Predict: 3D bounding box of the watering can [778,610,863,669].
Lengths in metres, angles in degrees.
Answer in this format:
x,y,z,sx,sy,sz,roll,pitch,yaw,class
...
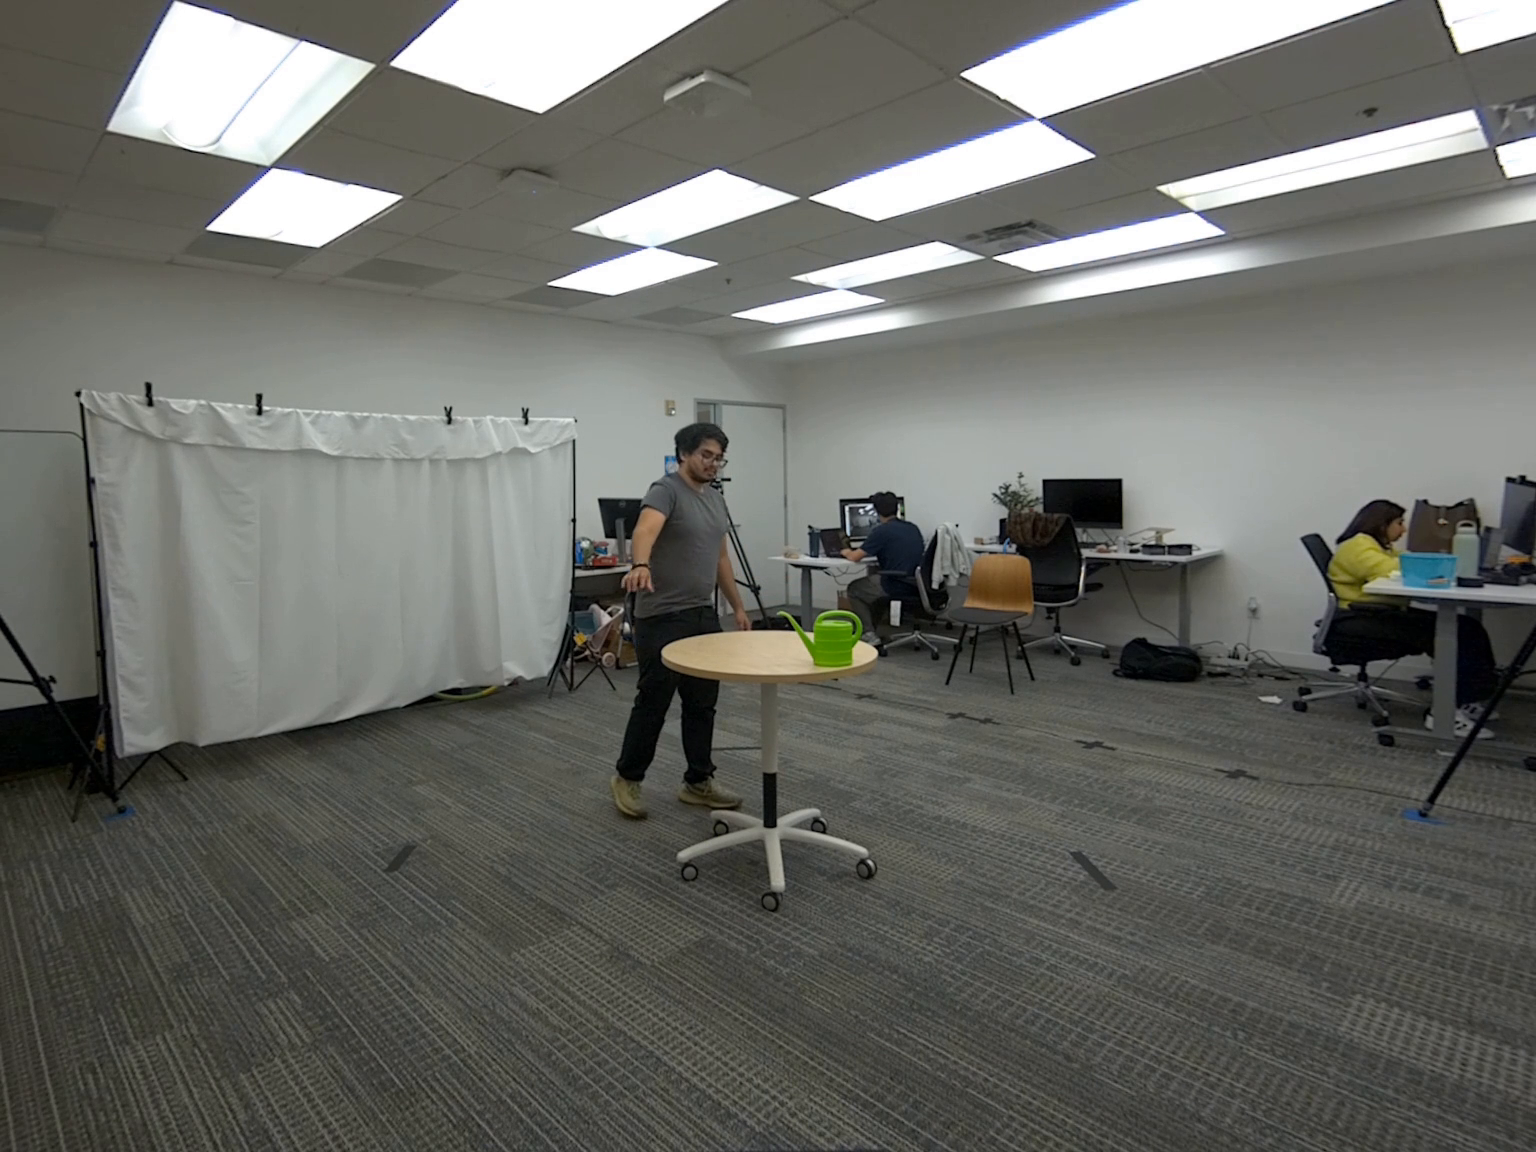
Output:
x,y,z,sx,sy,sz,roll,pitch,yaw,class
0.176,0.204,2.815,0.280,0.176,0.098,1,4,5,watering can
